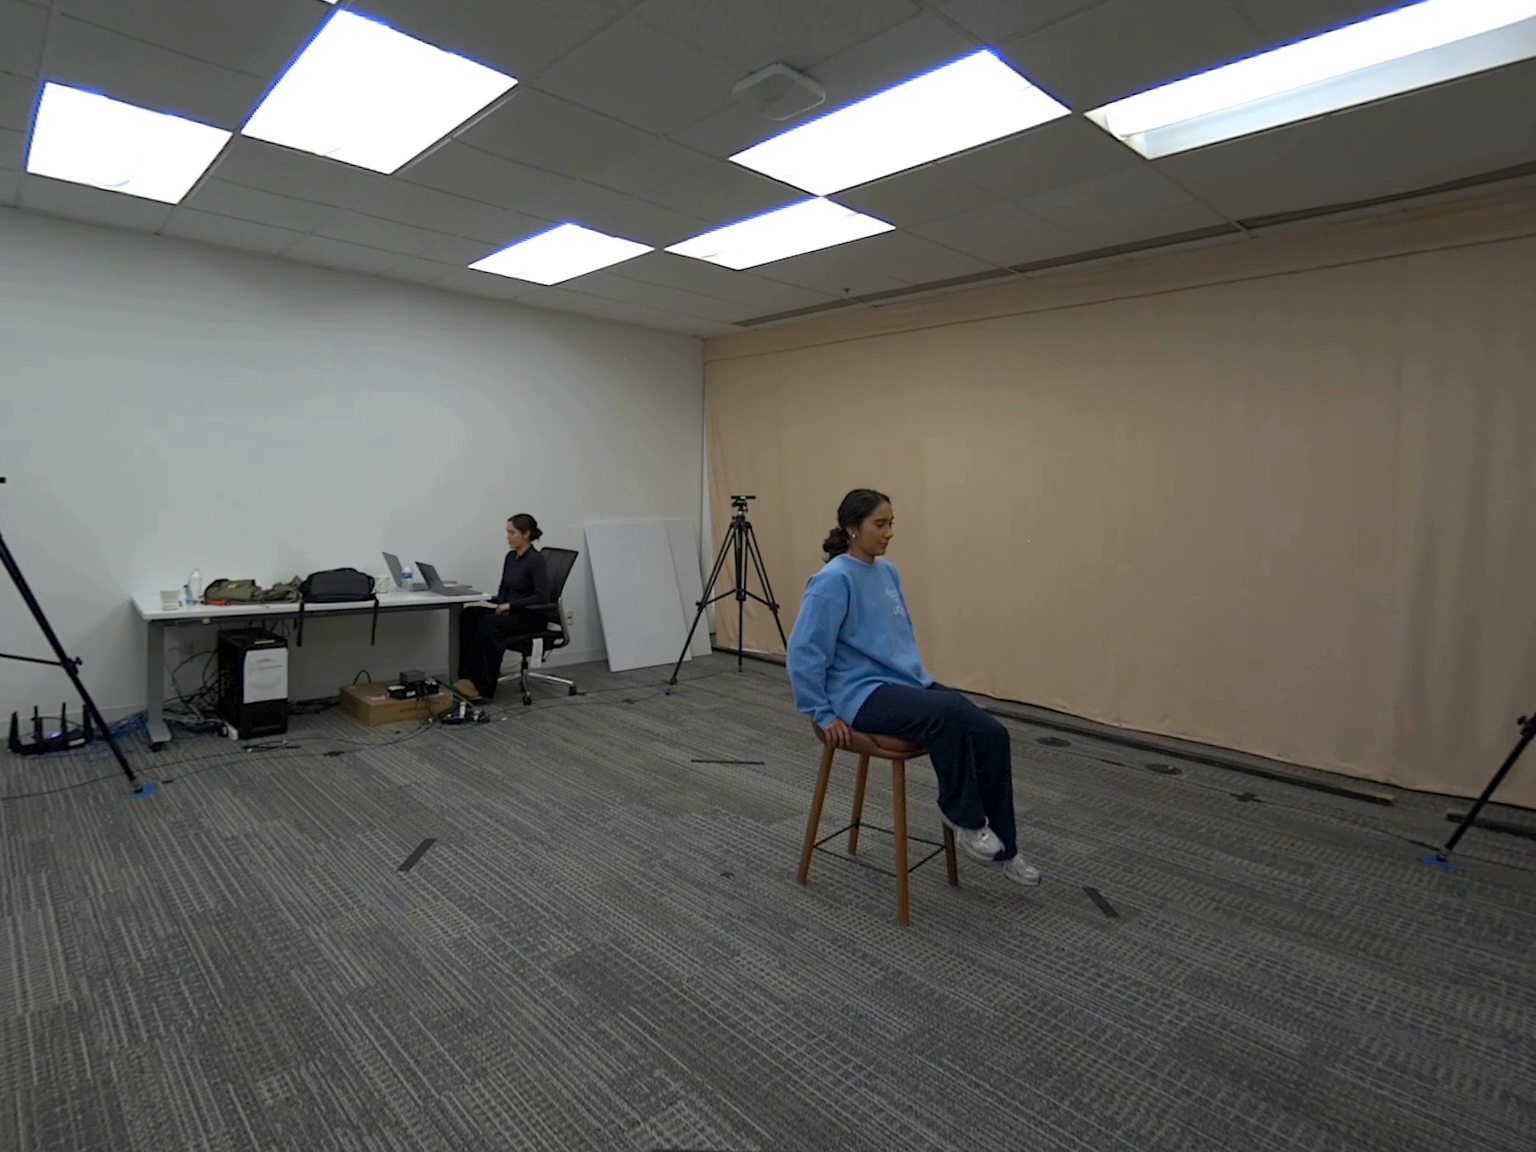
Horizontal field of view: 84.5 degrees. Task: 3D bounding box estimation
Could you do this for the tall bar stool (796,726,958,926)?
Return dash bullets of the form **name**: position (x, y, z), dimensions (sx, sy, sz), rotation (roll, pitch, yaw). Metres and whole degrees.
- **tall bar stool**: position (0.393, 0.685, 3.033), dimensions (0.479, 0.889, 0.446), rotation (1, 2, 39)
